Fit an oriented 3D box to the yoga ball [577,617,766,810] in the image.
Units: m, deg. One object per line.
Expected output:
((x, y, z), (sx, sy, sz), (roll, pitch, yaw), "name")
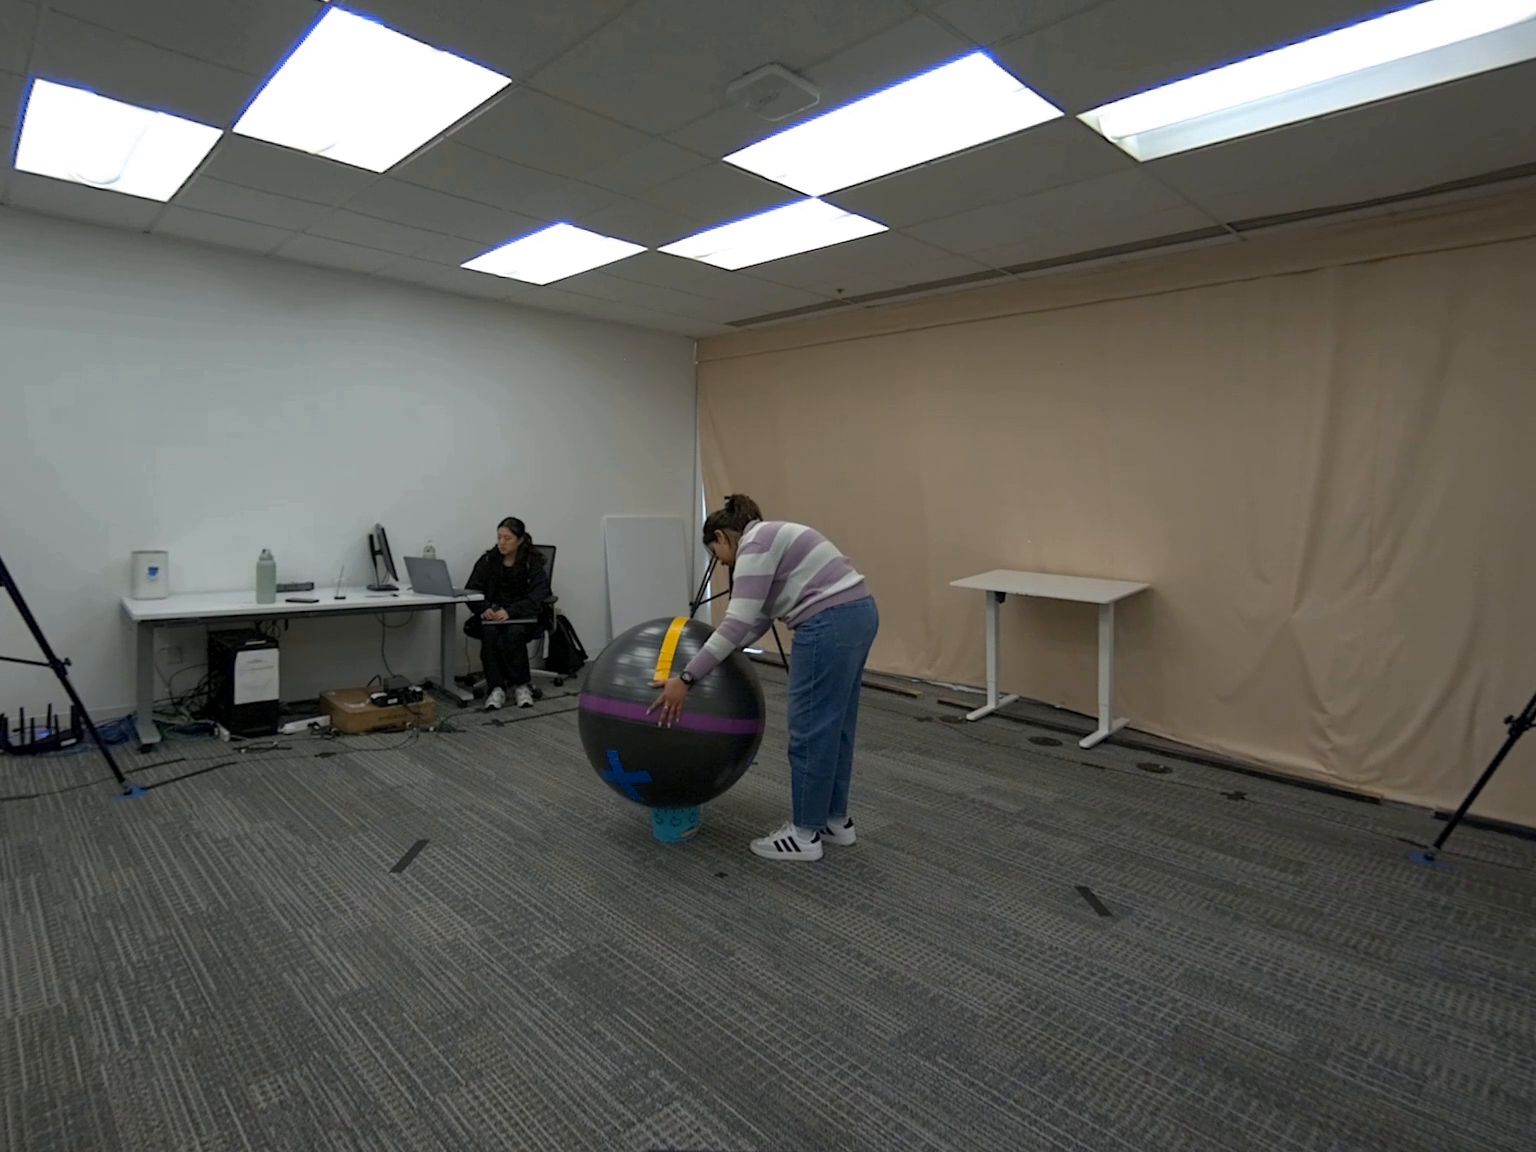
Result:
((-0.395, 0.551, 3.417), (0.757, 0.756, 0.761), (1, 4, -1), "yoga ball")
